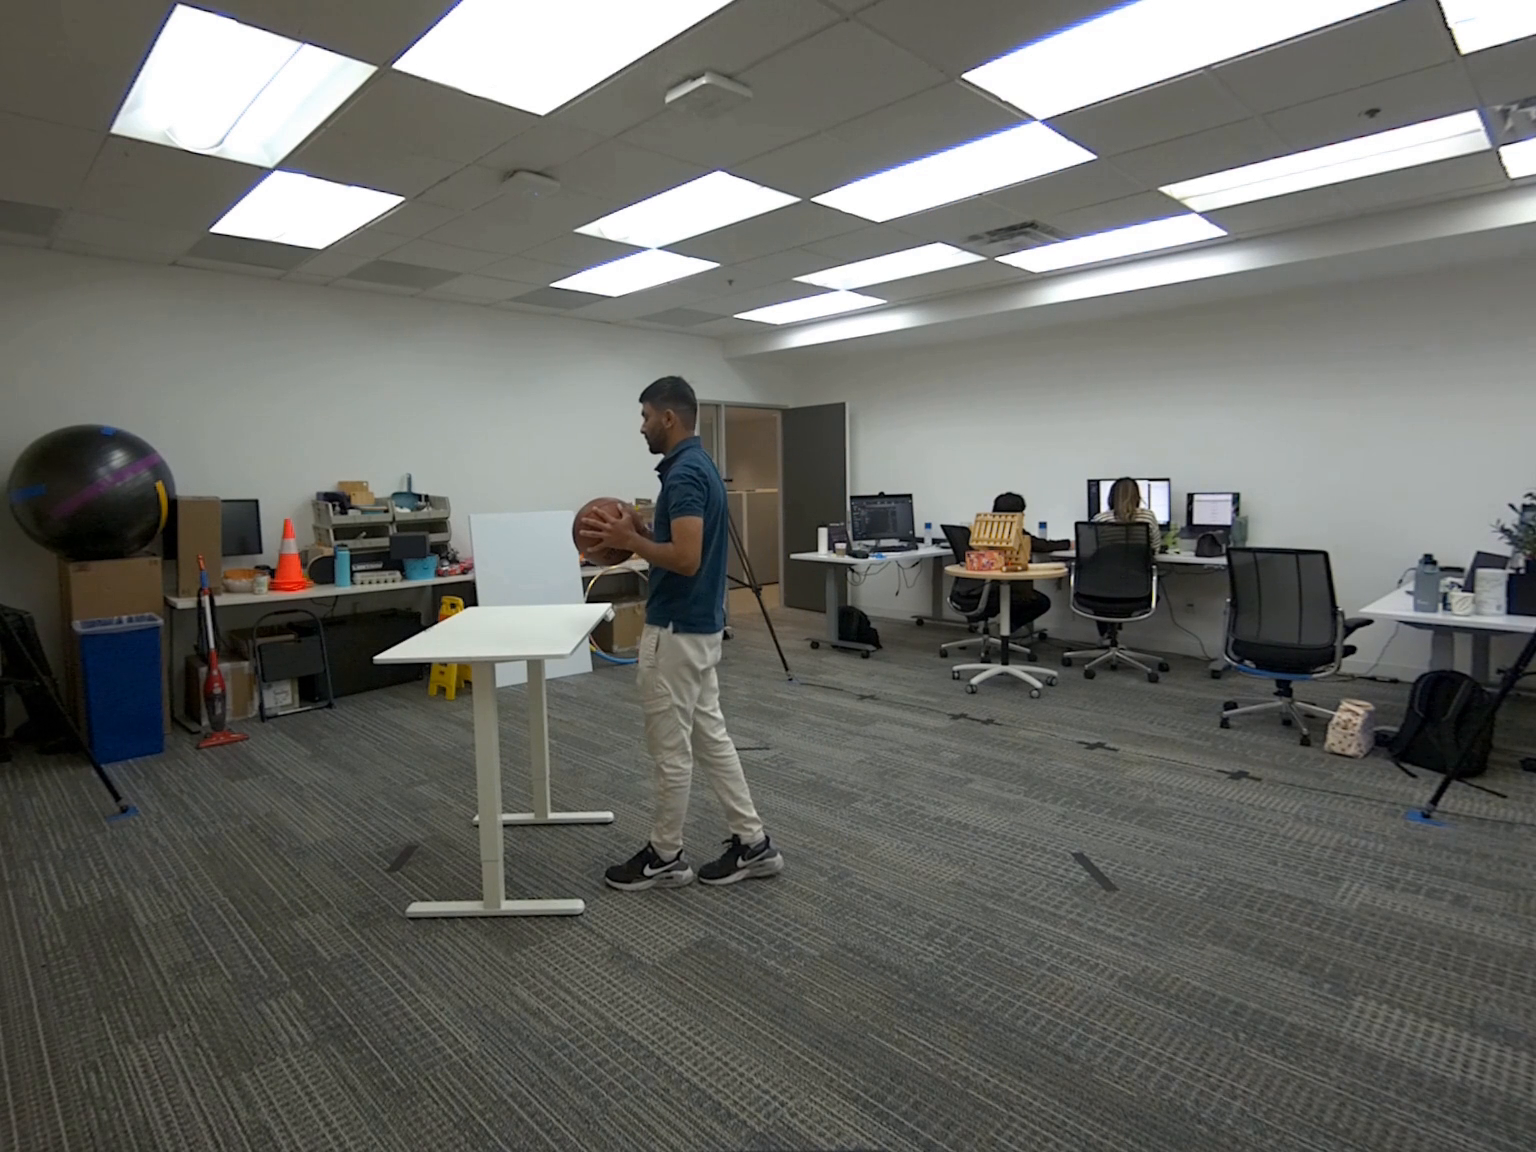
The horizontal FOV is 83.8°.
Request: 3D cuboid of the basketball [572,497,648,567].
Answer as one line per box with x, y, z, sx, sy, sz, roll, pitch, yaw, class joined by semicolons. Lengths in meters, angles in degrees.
-0.553;-0.154;2.950;0.236;0.235;0.237;-1;5;-2;basketball
